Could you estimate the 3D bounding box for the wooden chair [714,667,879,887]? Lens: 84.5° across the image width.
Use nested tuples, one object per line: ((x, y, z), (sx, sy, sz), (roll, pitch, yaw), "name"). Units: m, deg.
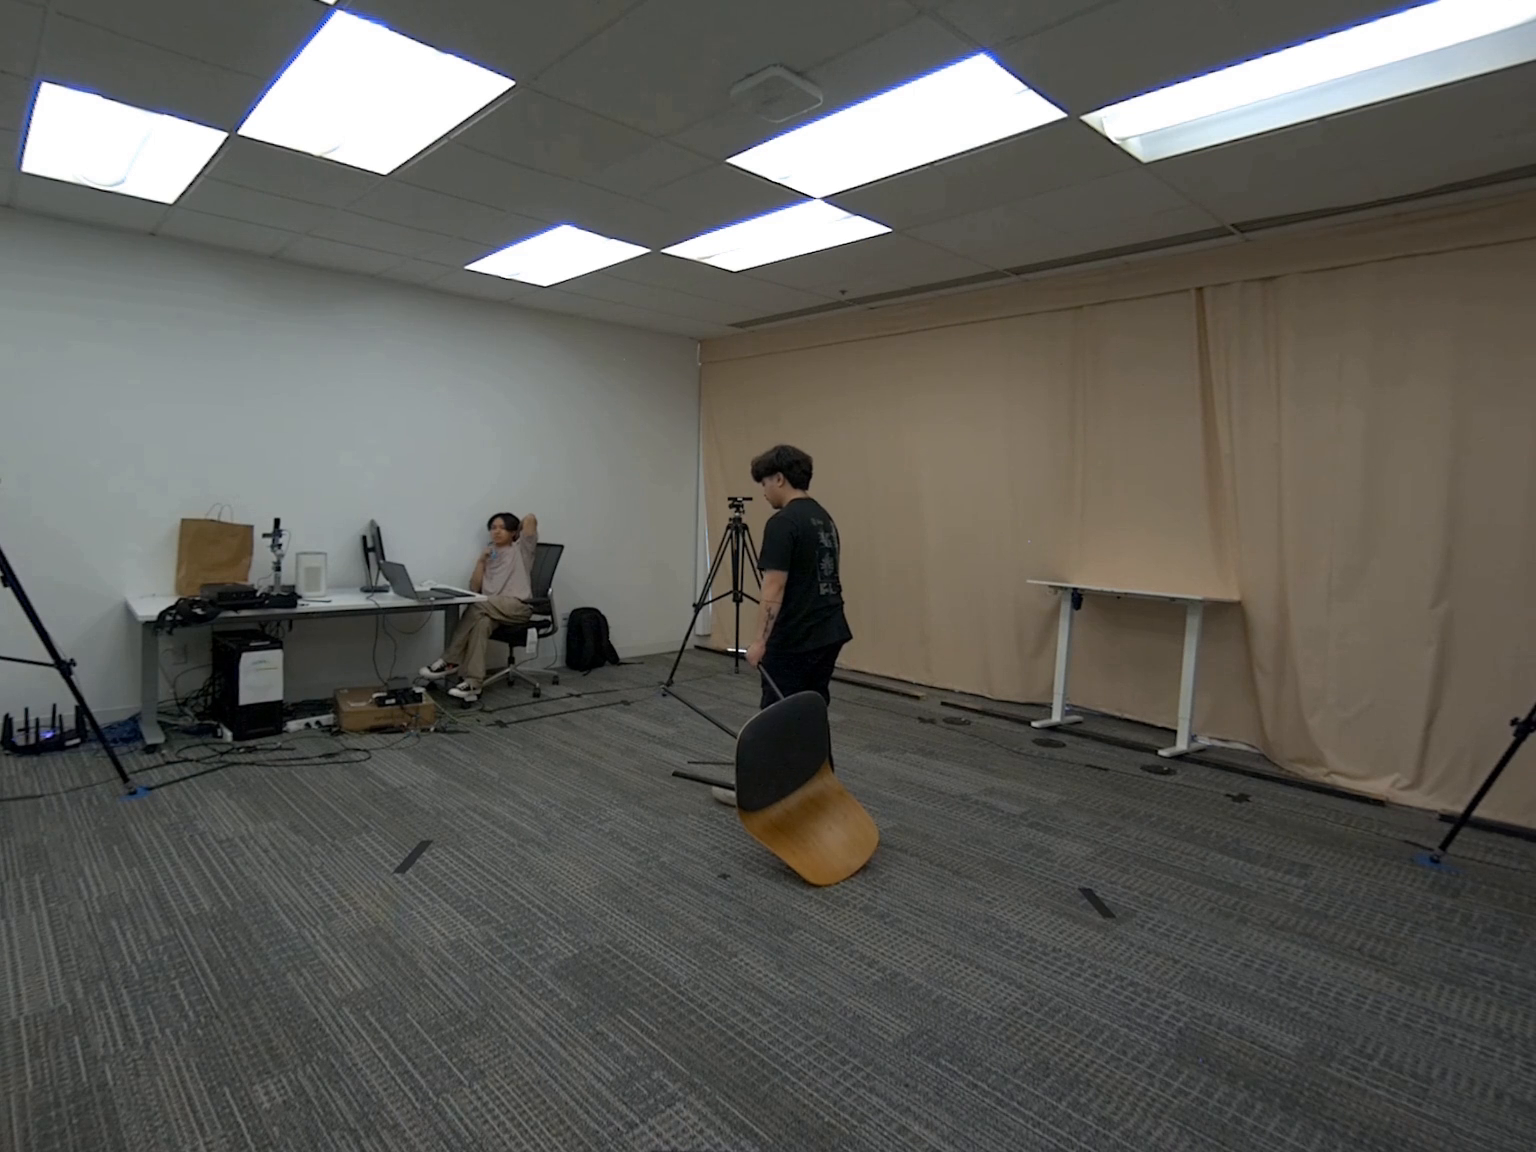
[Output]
((0.022, 0.717, 3.292), (0.472, 0.513, 0.905), (-21, 36, -34), "wooden chair")
